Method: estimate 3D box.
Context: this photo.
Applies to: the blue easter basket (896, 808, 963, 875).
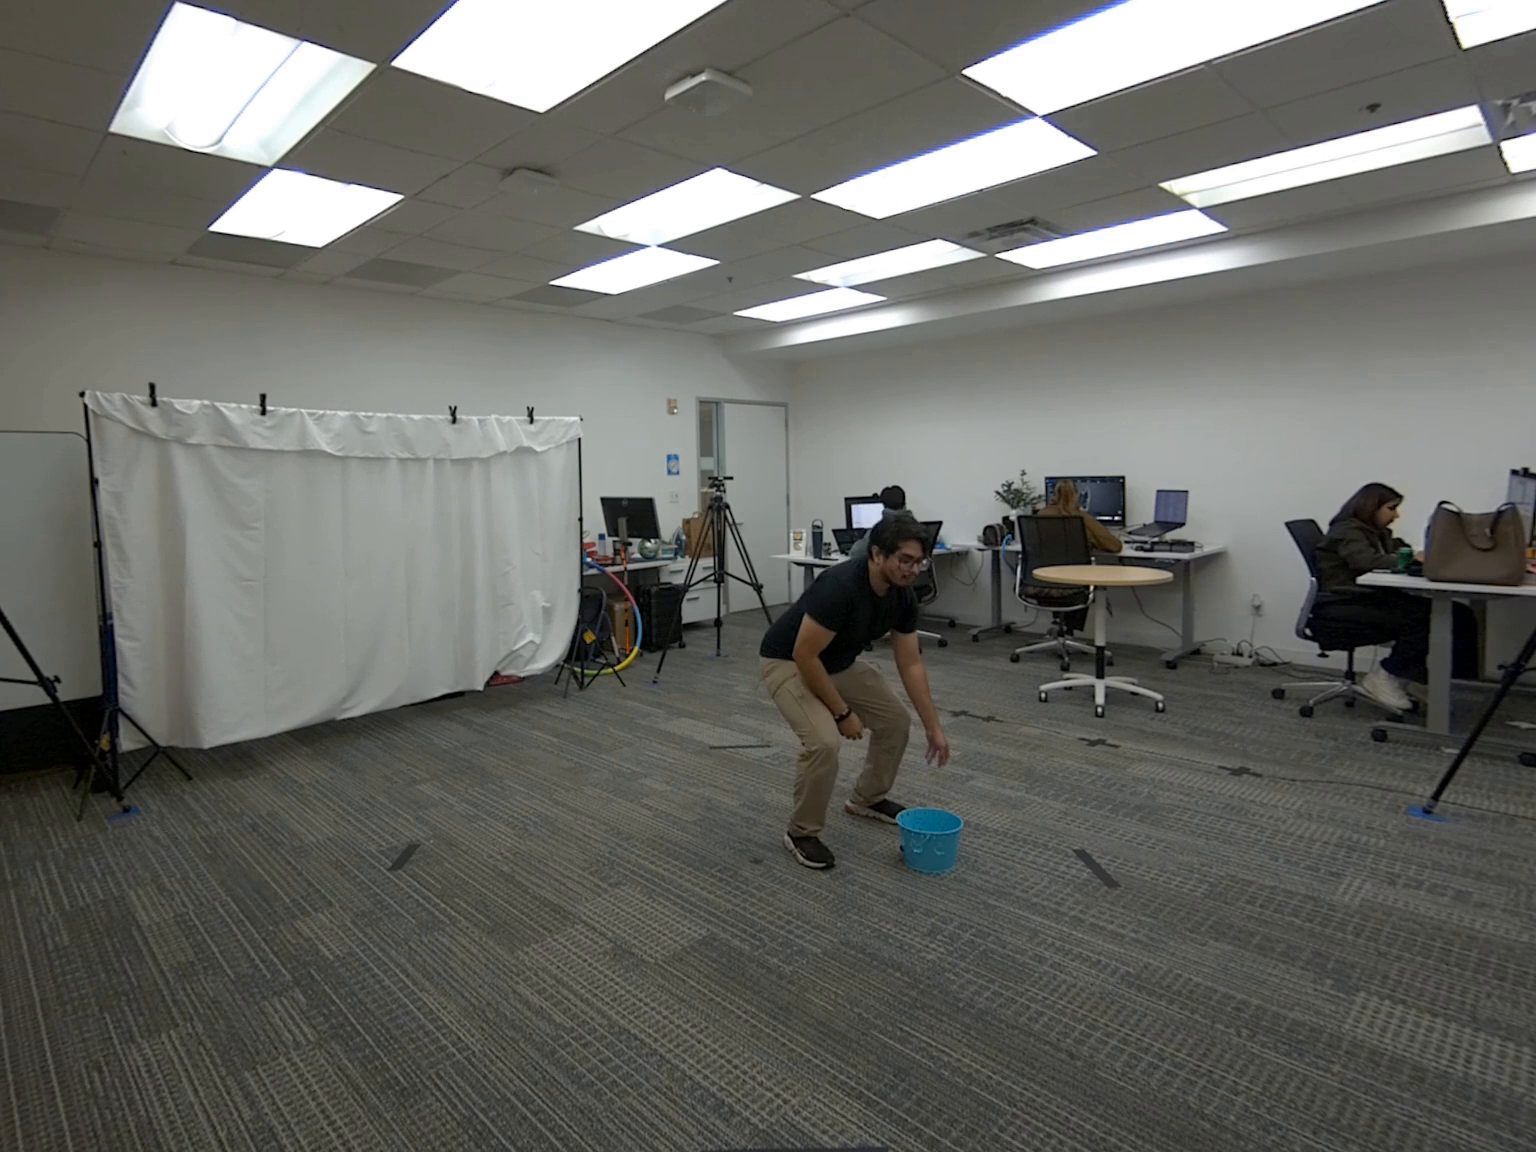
[{"bbox_3d":[0.579,0.950,3.072,0.243,0.155,0.245,-2,7,-1],"label":"blue easter basket"}]
